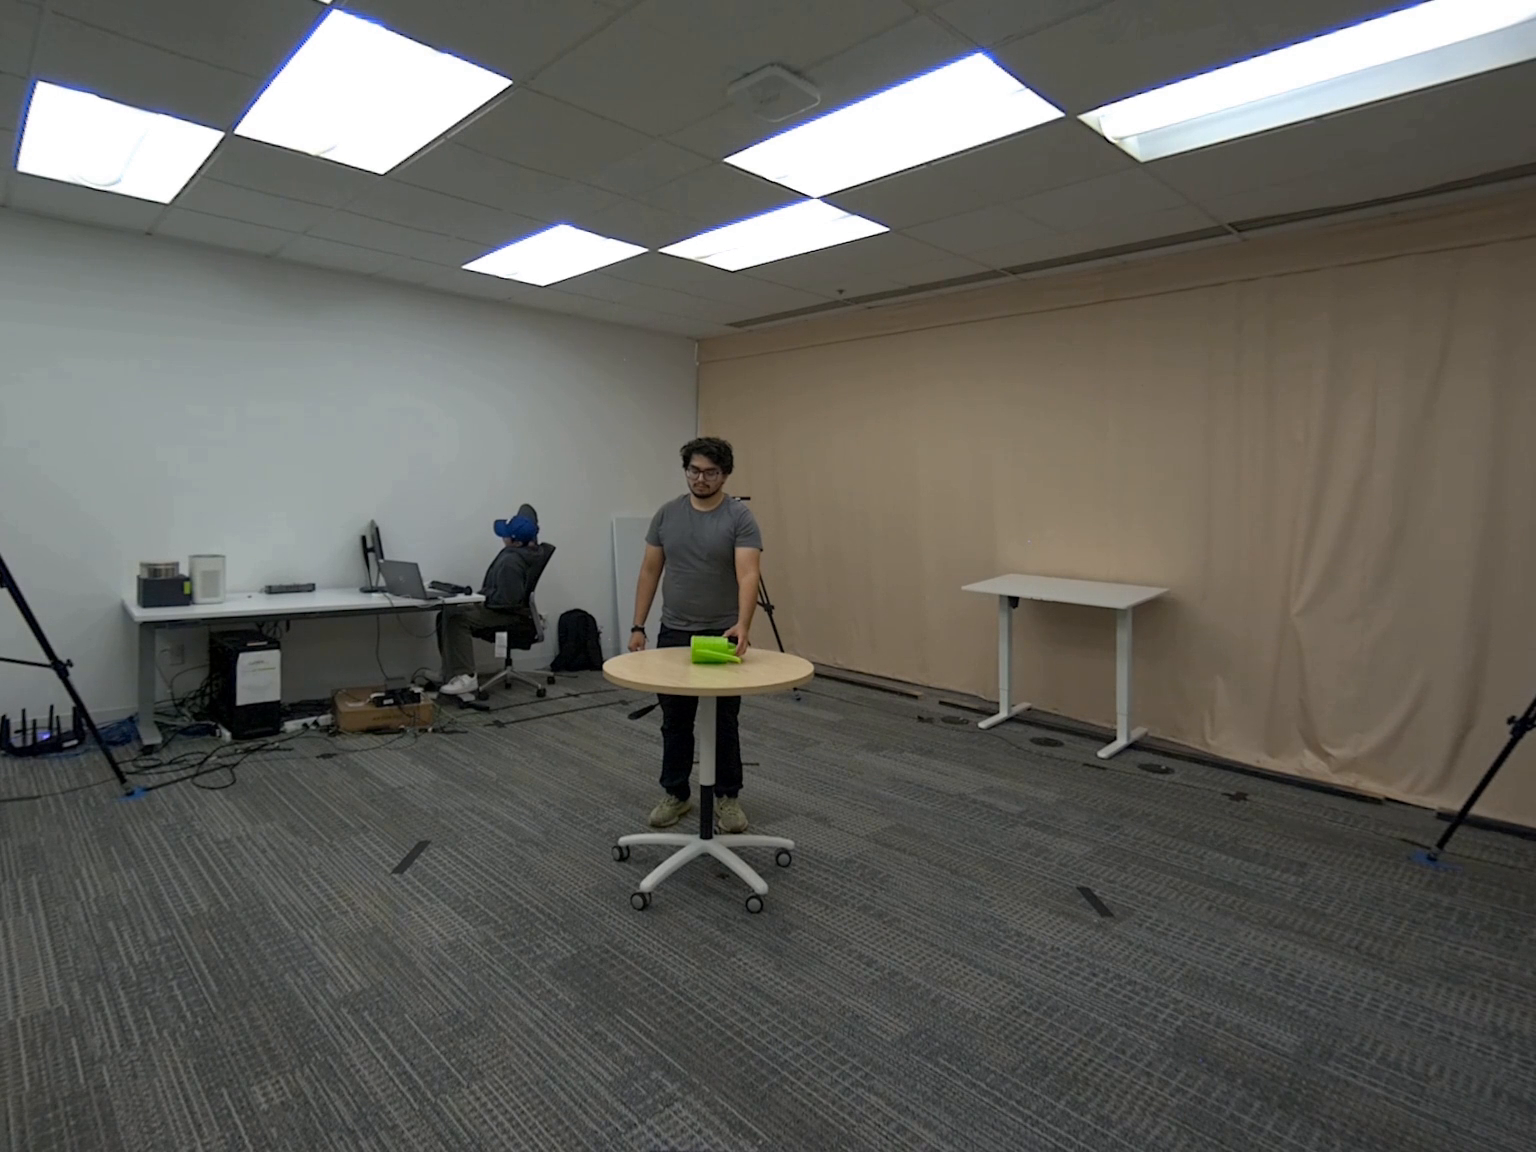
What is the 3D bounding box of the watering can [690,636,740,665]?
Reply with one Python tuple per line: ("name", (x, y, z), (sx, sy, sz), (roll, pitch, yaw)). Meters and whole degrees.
("watering can", (-0.213, 0.267, 3.076), (0.177, 0.098, 0.278), (-1, -1, -1))
